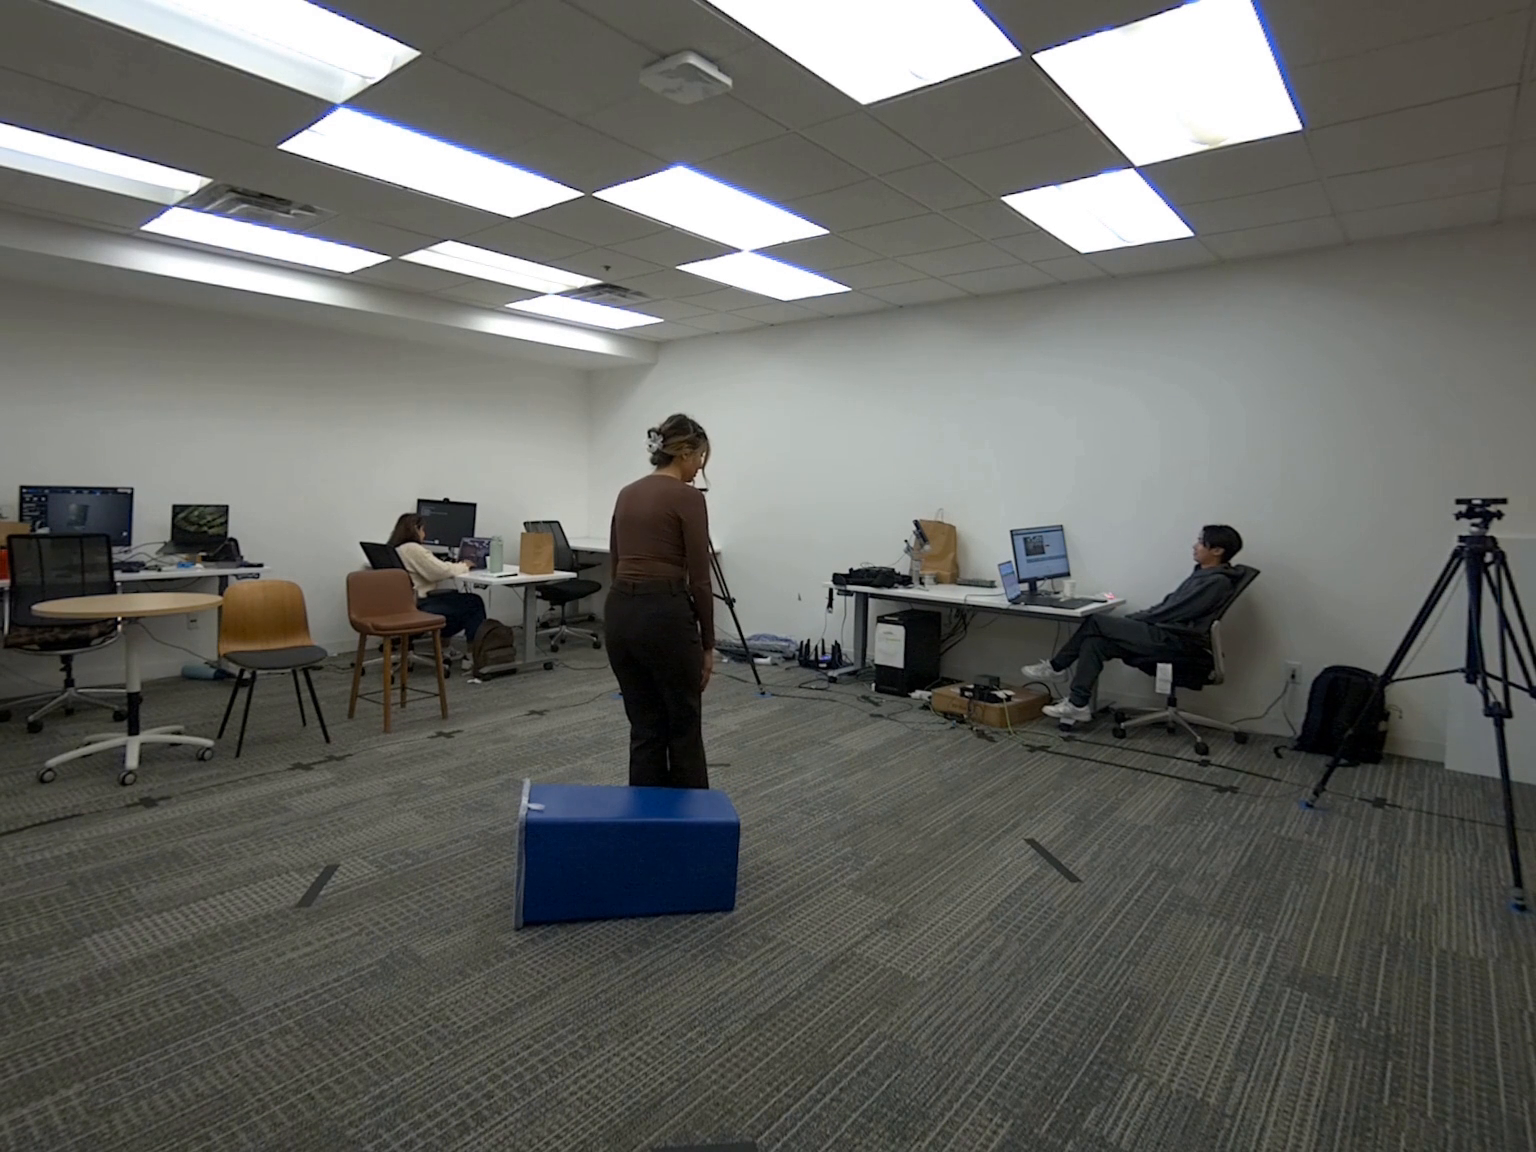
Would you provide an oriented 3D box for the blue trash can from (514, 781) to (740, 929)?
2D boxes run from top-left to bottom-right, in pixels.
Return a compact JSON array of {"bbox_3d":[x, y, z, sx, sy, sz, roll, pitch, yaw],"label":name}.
[{"bbox_3d":[-0.492,0.924,2.881,0.704,0.377,0.380,3,3,-12],"label":"blue trash can"}]
